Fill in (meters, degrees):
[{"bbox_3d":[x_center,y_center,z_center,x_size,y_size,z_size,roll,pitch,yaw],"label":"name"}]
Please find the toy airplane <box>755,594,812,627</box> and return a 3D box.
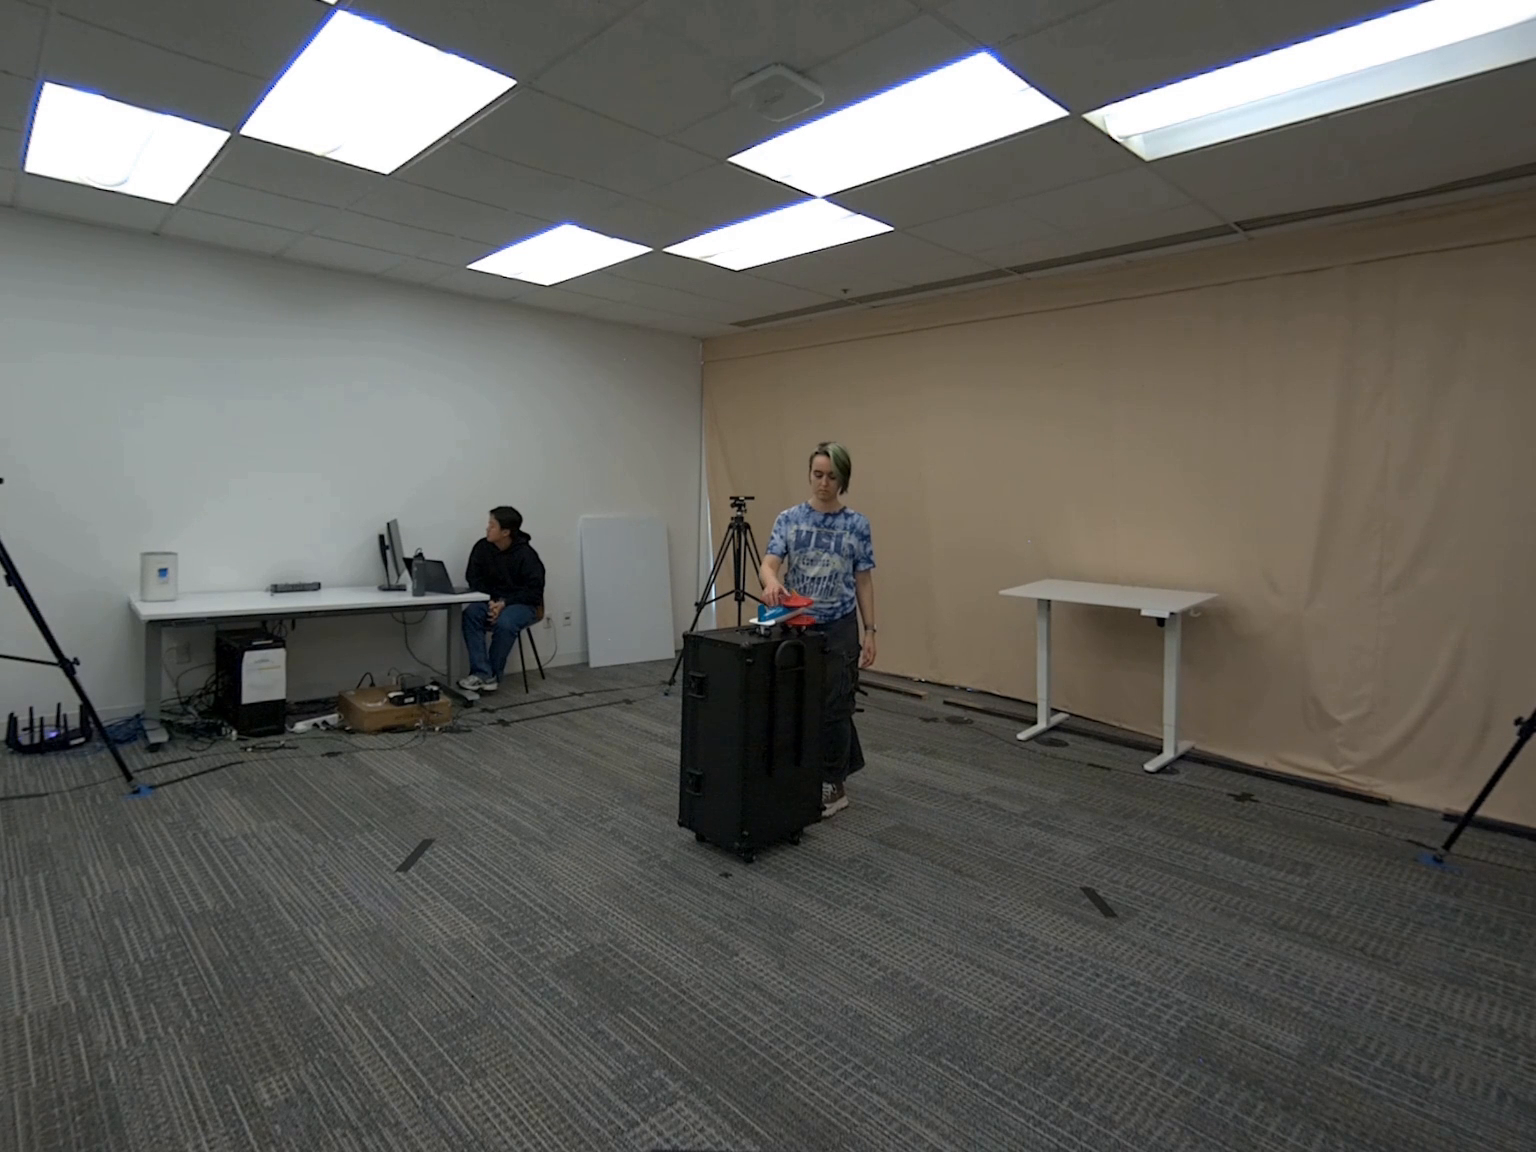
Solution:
[{"bbox_3d":[0.062,0.160,3.374,0.254,0.156,0.256,4,4,16],"label":"toy airplane"}]
